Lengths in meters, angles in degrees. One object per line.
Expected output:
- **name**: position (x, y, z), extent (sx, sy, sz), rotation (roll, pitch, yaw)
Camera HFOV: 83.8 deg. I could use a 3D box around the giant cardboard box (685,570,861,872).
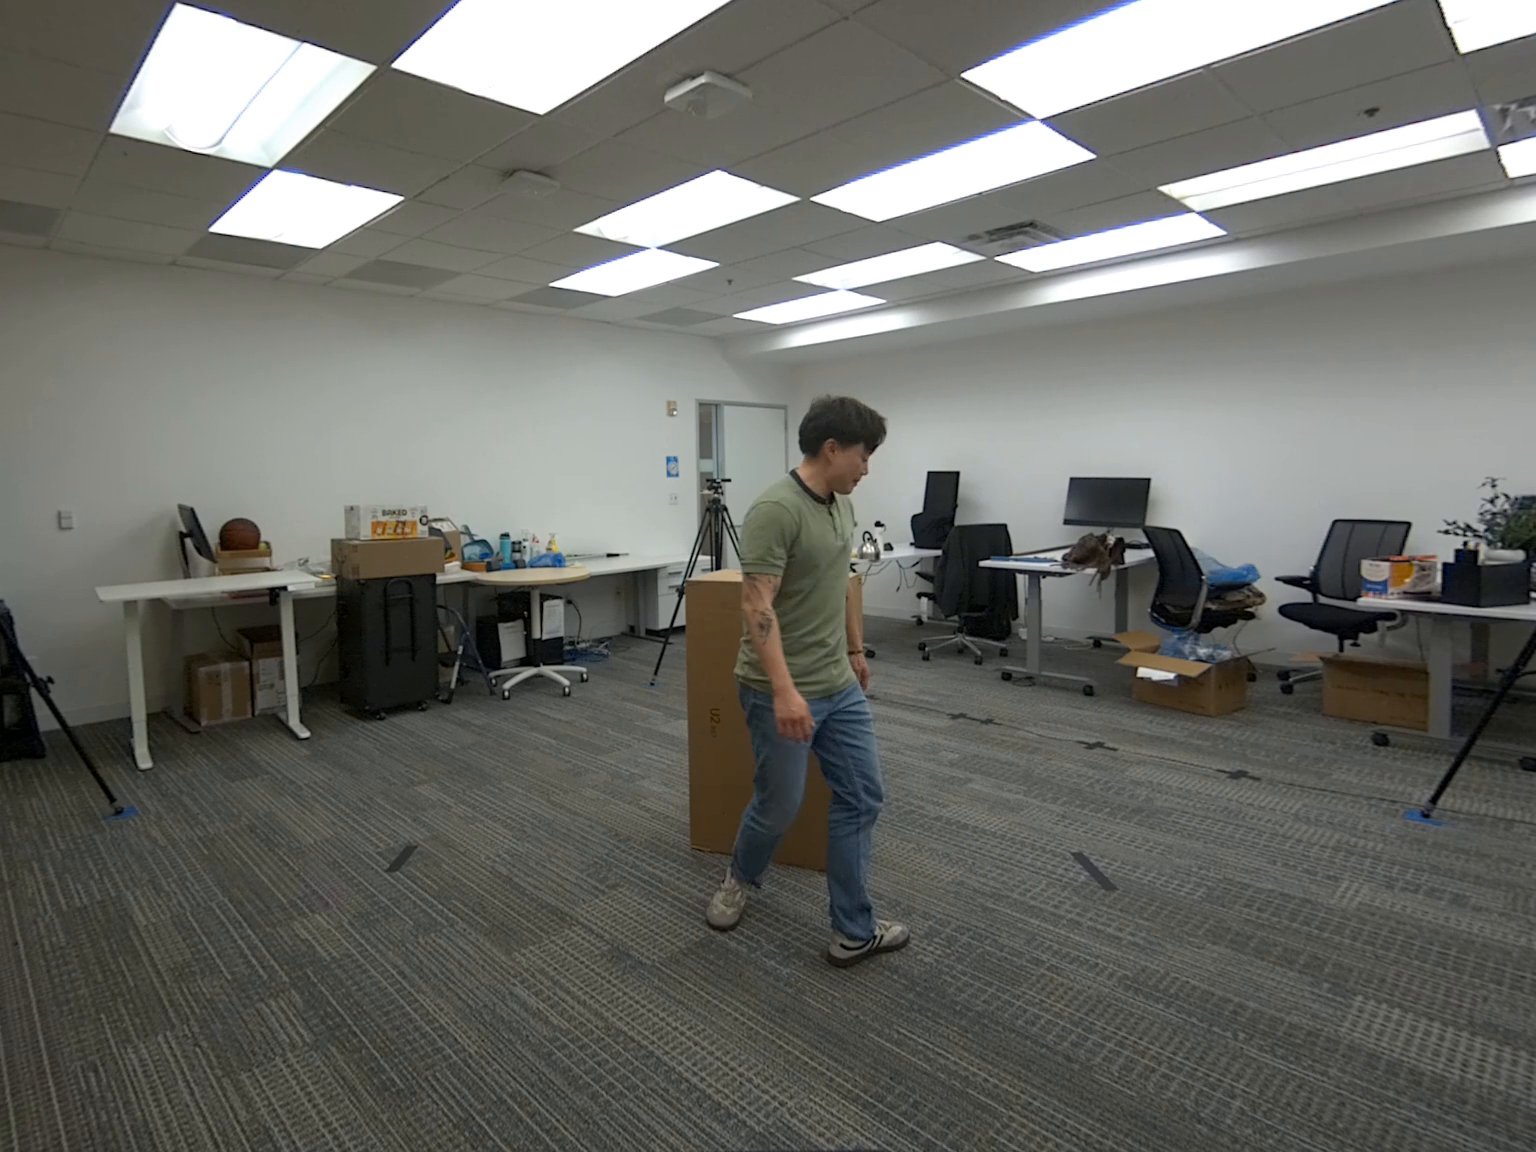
- **giant cardboard box**: position (0.034, 0.509, 3.295), extent (0.590, 1.023, 0.418), rotation (1, 4, 23)
